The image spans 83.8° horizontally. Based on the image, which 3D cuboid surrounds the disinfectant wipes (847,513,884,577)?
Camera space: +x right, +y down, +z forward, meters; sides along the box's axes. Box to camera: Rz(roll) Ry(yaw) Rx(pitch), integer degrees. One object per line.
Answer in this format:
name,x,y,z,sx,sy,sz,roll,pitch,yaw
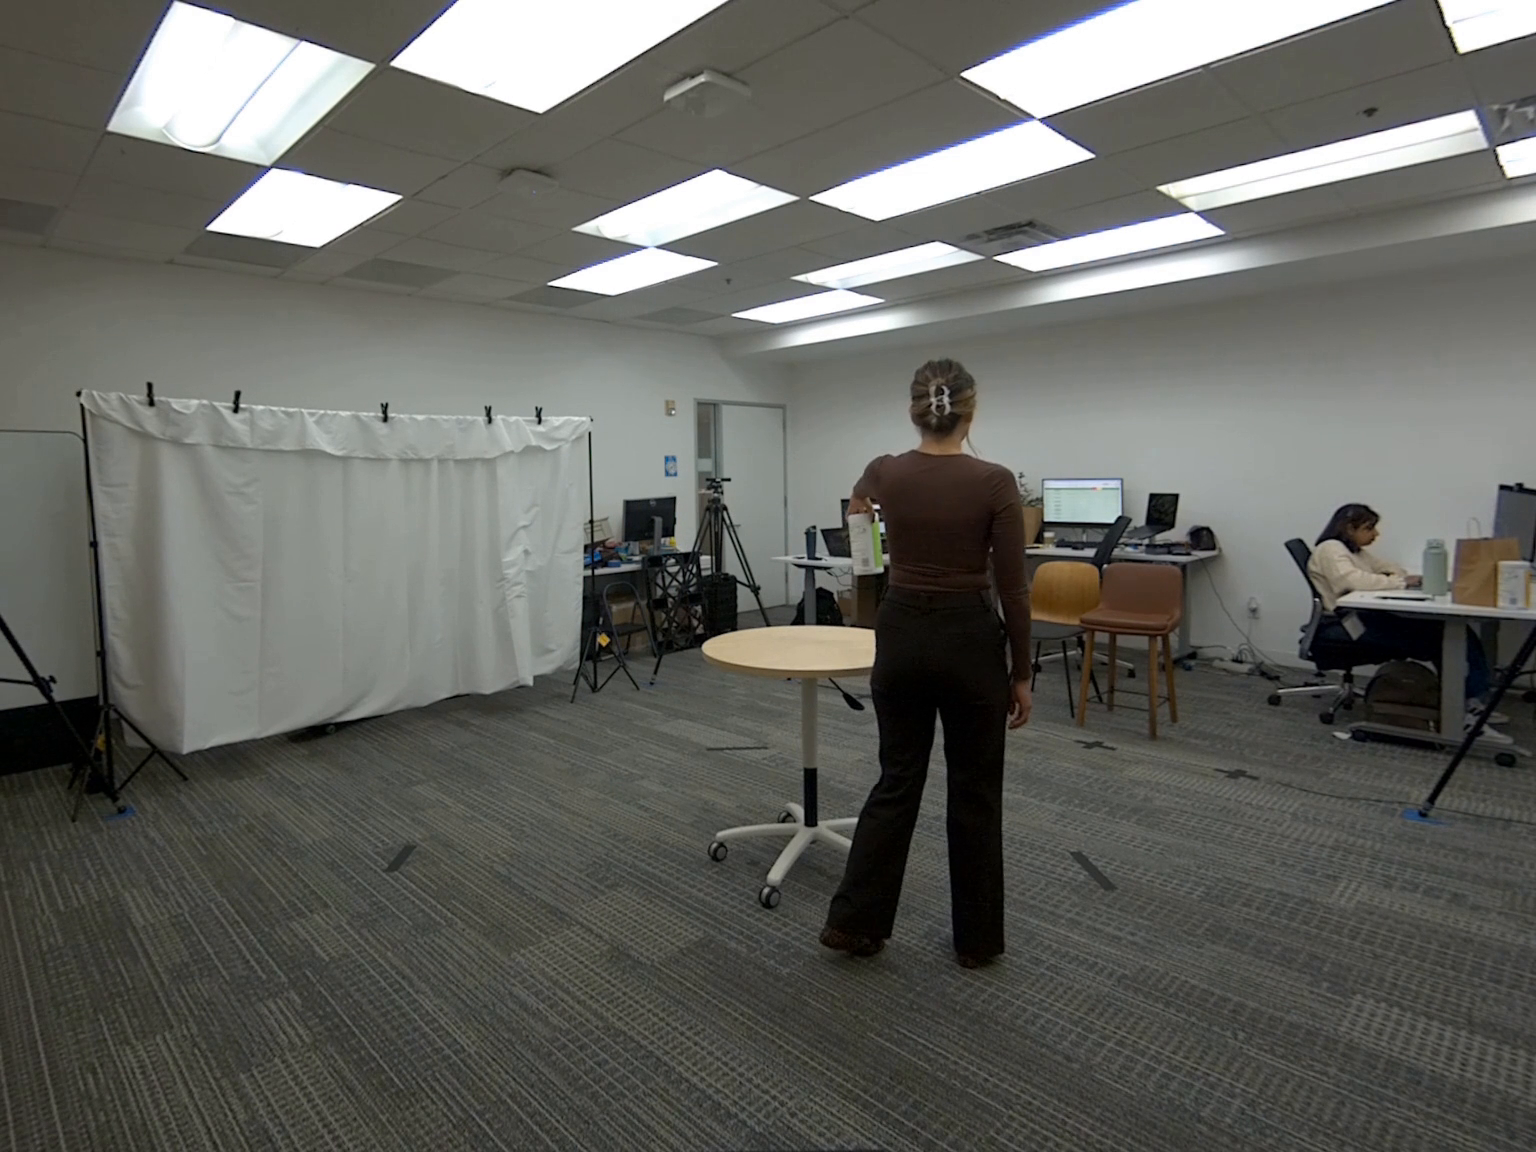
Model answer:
disinfectant wipes,0.351,-0.114,3.052,0.118,0.218,0.118,-4,-1,-2
